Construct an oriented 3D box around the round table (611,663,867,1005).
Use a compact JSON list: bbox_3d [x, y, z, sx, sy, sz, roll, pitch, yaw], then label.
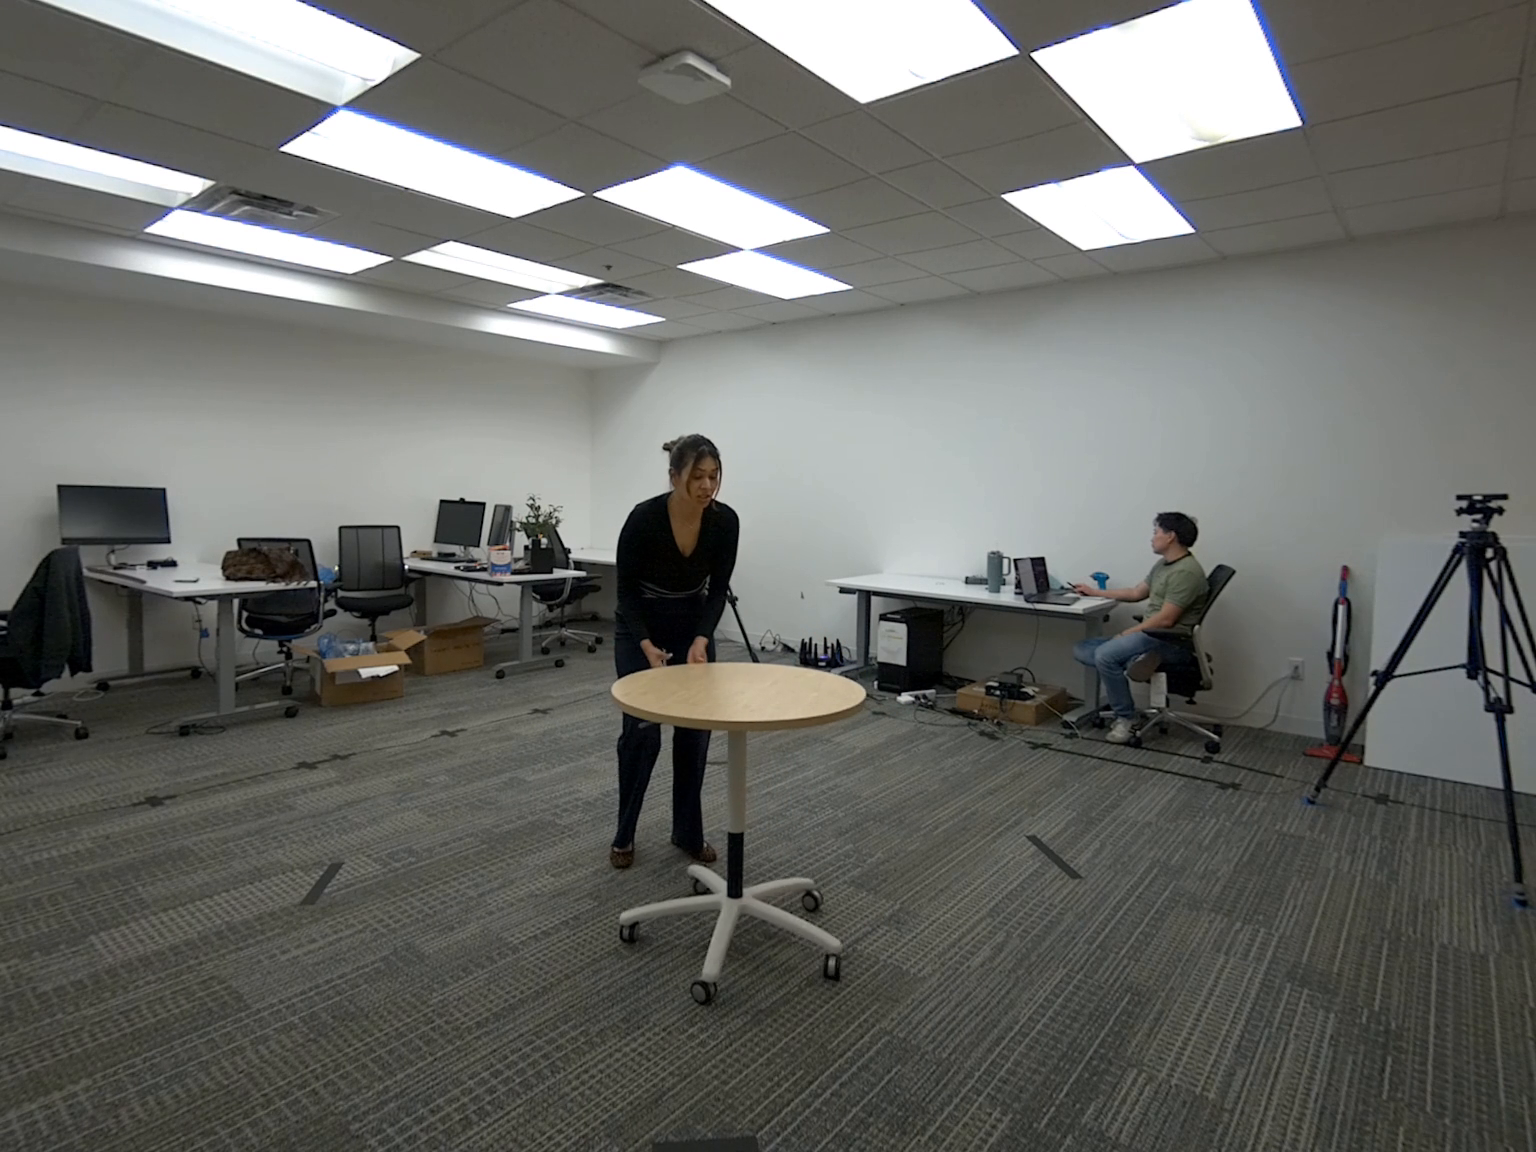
[{"bbox_3d":[-0.104,0.727,2.602,0.763,0.791,0.768,1,4,-2],"label":"round table"}]
